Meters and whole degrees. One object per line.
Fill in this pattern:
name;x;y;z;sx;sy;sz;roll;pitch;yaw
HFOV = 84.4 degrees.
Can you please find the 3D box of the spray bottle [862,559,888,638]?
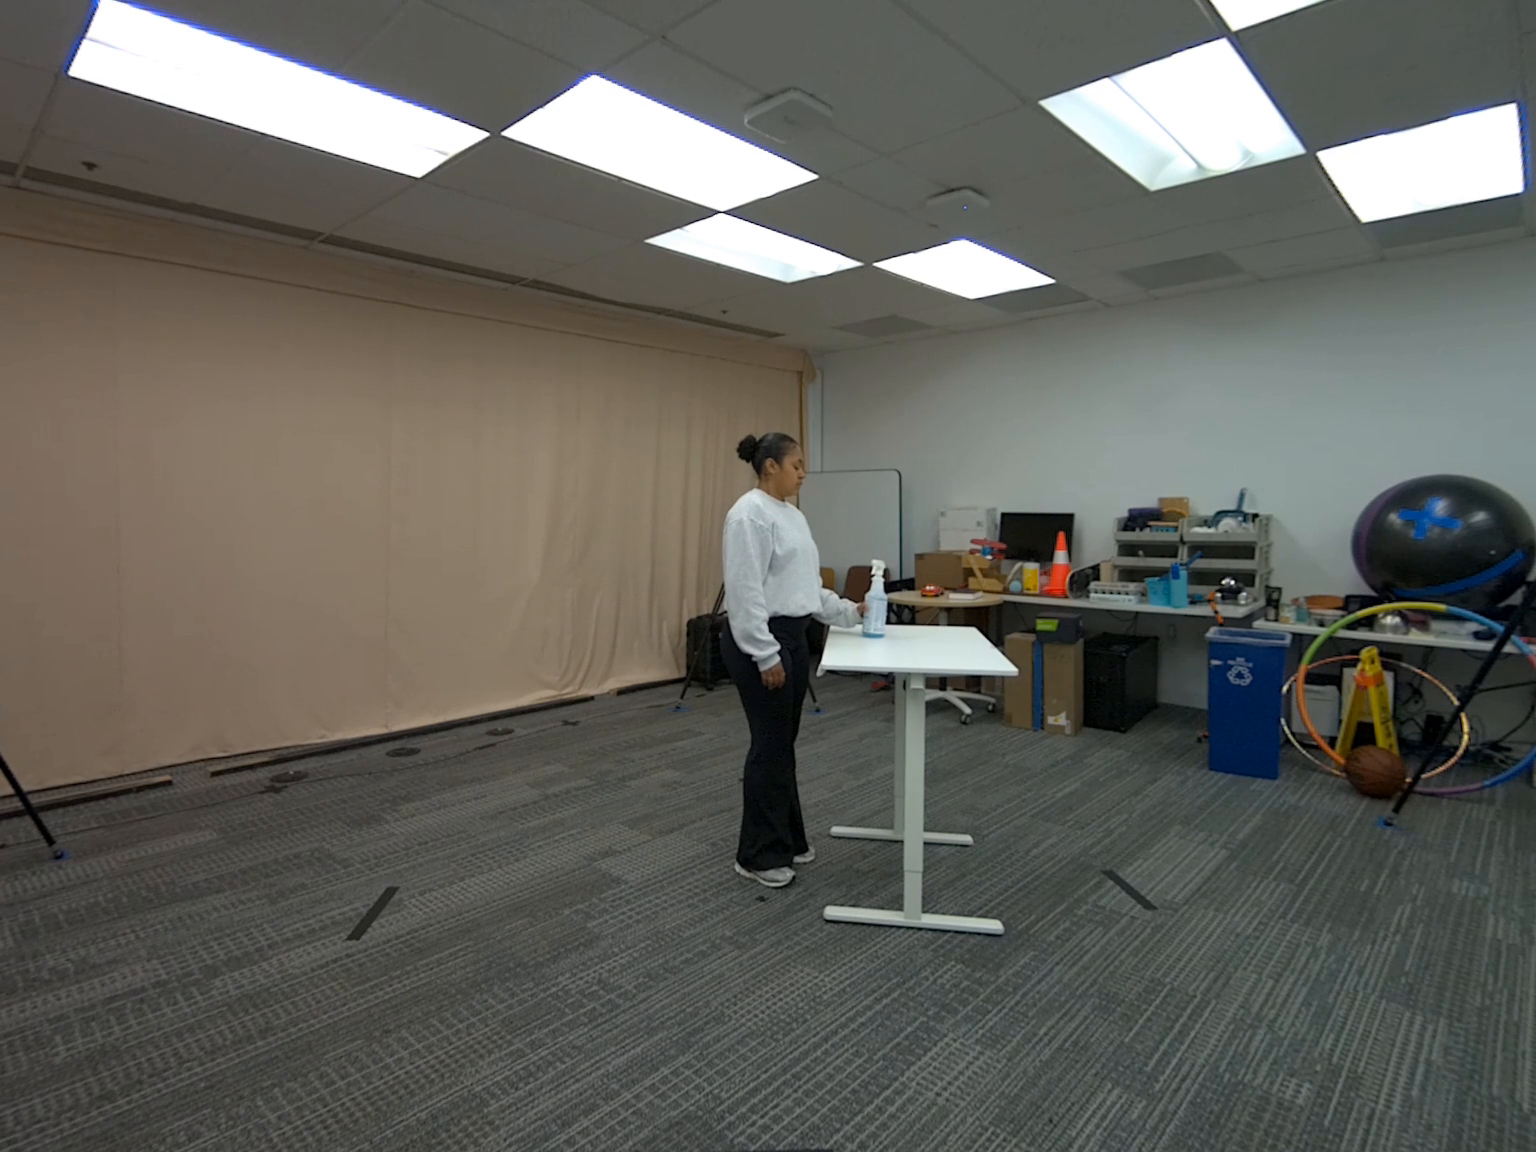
spray bottle;0.424;0.082;3.268;0.088;0.297;0.089;5;0;-23
